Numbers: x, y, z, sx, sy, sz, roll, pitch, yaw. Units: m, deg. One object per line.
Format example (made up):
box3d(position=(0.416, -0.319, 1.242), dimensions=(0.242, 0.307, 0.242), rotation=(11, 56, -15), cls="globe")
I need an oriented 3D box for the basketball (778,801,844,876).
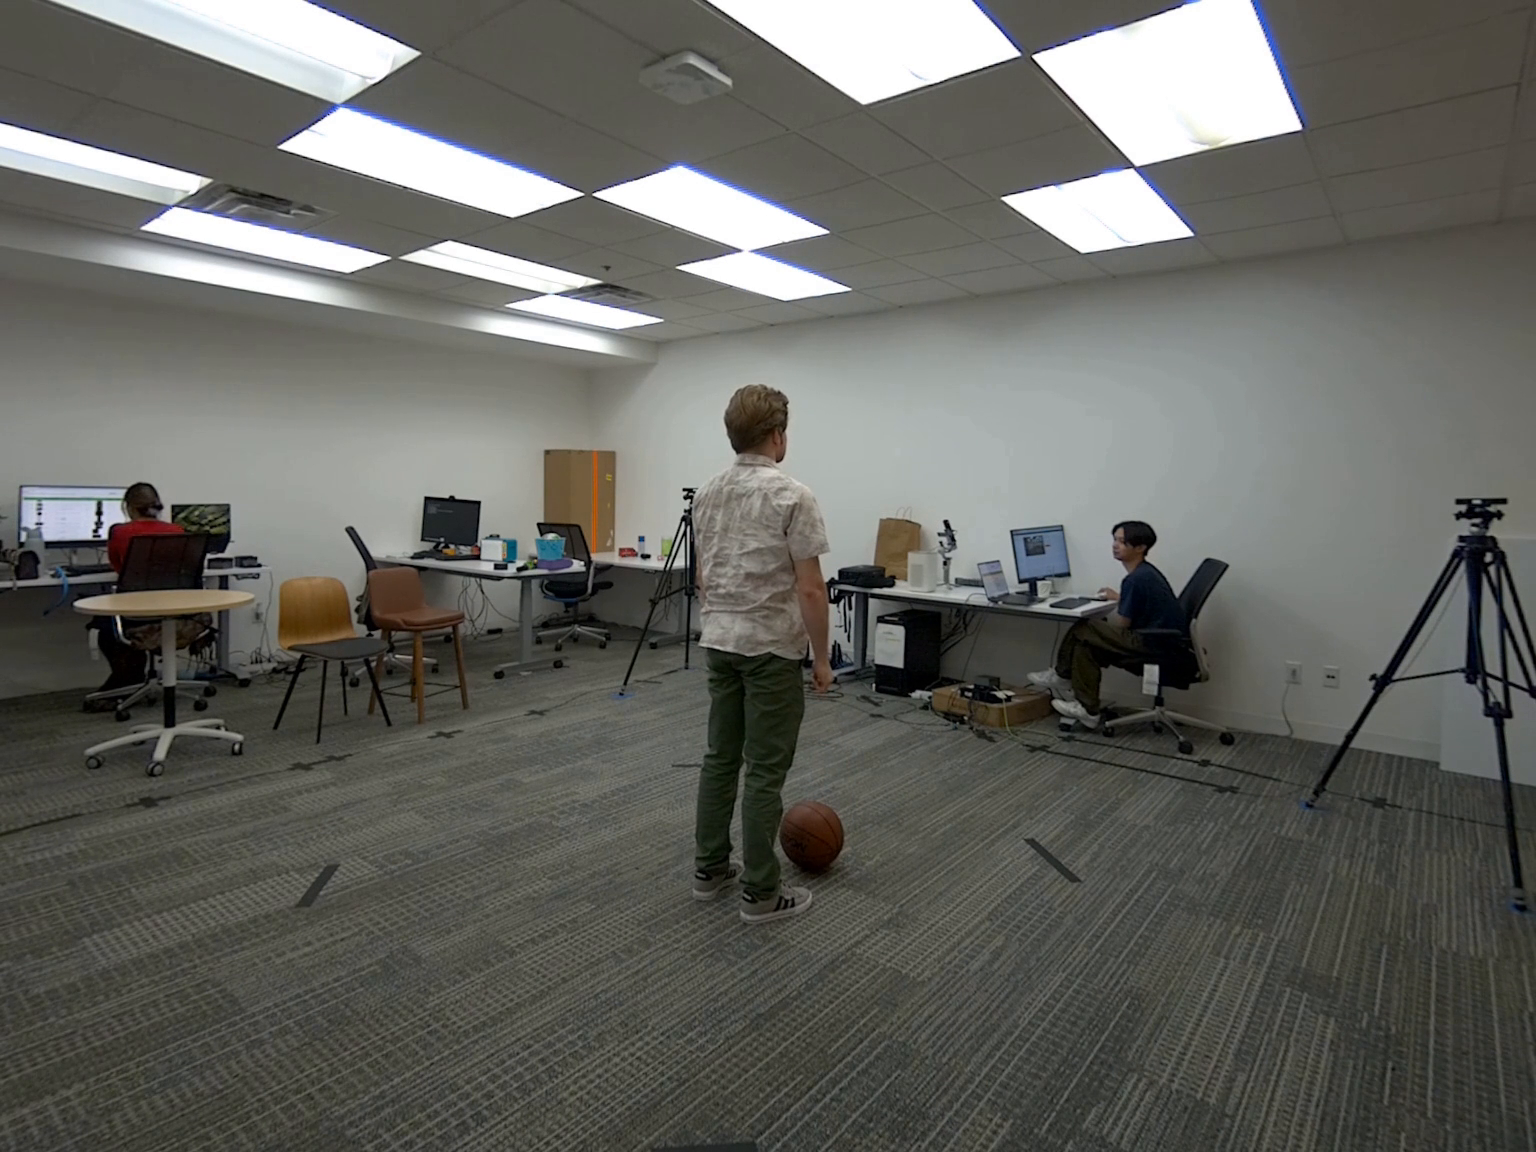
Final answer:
box3d(position=(0.155, 0.952, 3.148), dimensions=(0.235, 0.235, 0.237), rotation=(1, 4, -2), cls="basketball")
